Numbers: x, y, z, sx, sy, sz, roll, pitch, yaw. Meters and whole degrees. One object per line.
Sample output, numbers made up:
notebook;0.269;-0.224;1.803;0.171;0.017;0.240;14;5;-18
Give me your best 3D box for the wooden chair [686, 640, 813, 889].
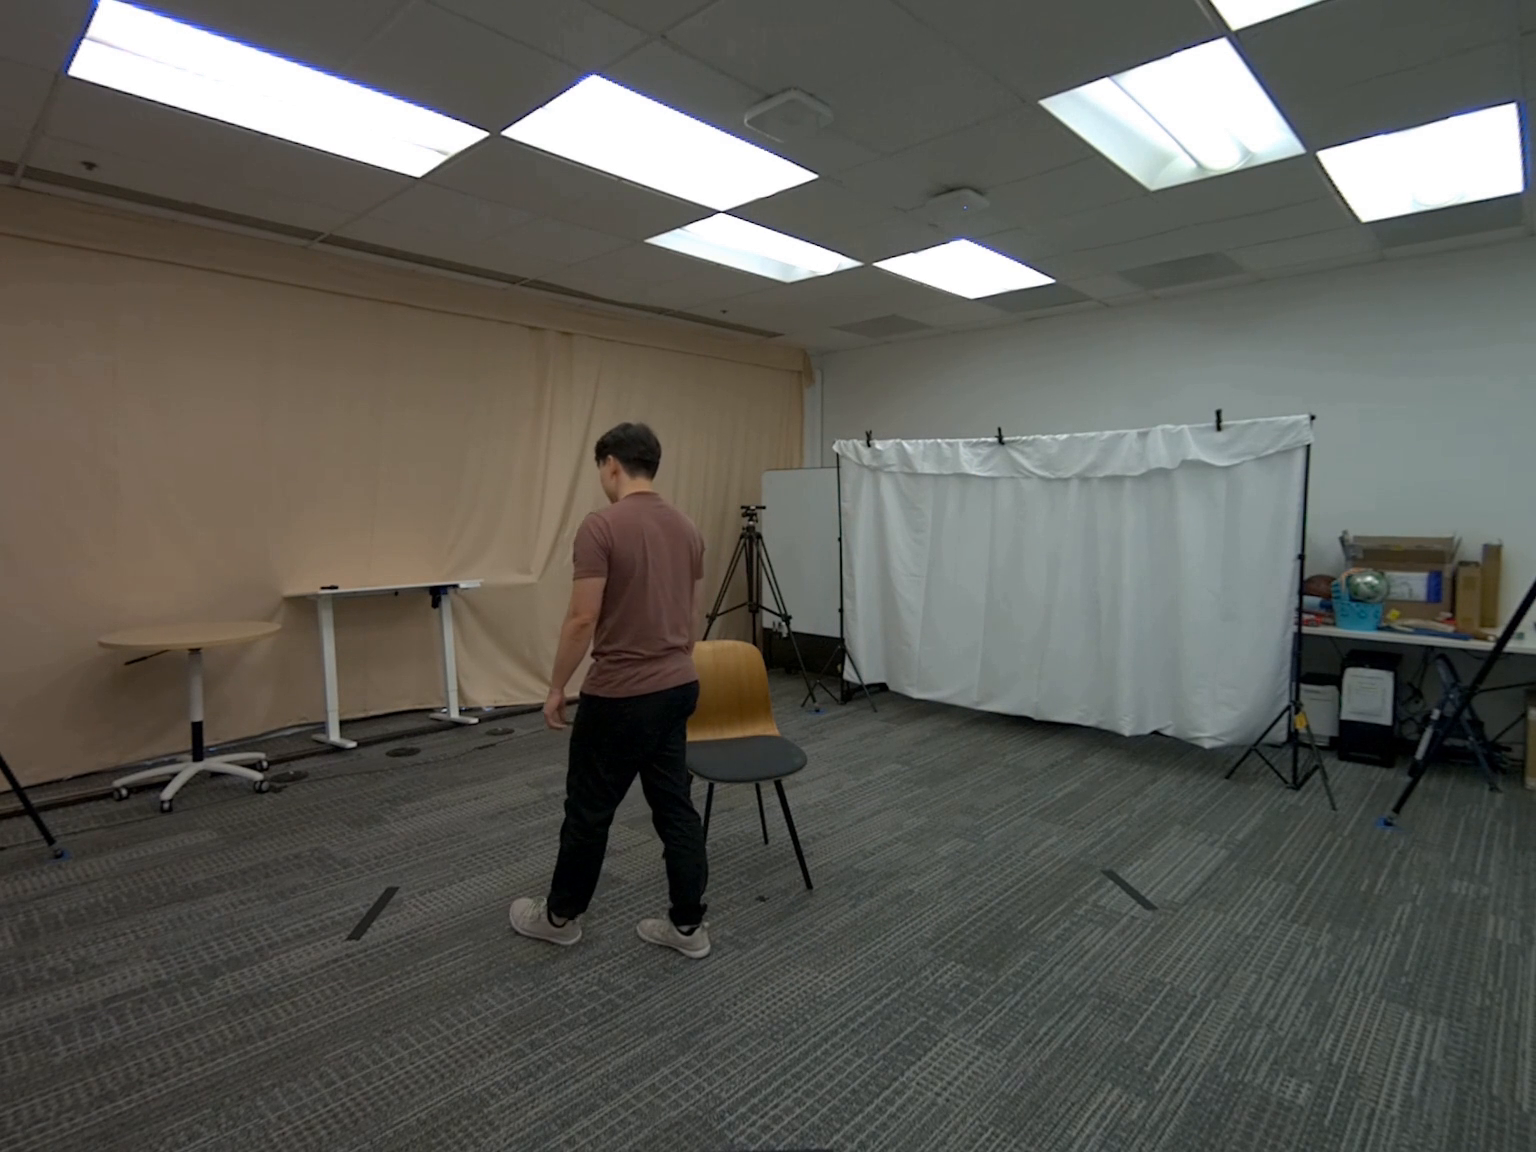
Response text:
wooden chair;-0.125;0.705;3.162;0.469;0.878;0.533;-1;-1;-19
